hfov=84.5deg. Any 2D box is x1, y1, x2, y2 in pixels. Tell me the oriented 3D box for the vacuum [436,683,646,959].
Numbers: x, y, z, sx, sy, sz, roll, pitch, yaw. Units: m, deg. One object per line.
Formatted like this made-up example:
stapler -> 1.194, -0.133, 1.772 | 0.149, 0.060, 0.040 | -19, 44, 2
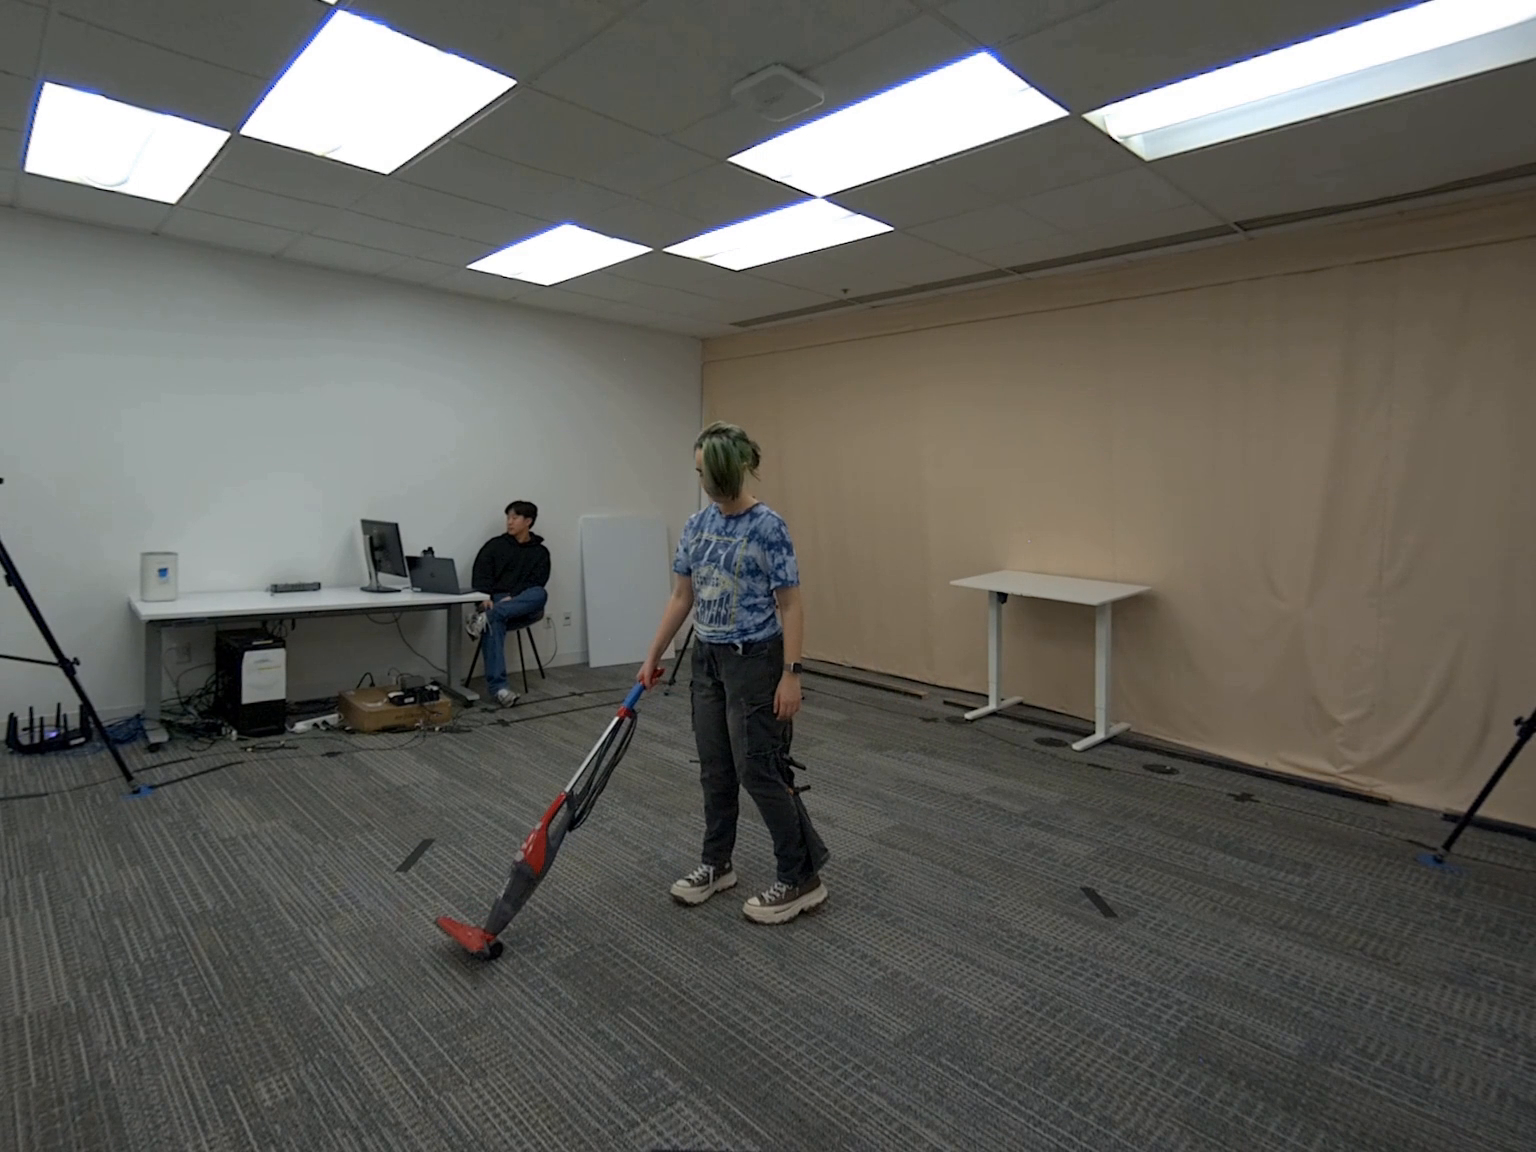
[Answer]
vacuum -> -0.637, 0.731, 2.752 | 0.259, 1.053, 0.140 | 6, -39, 43
